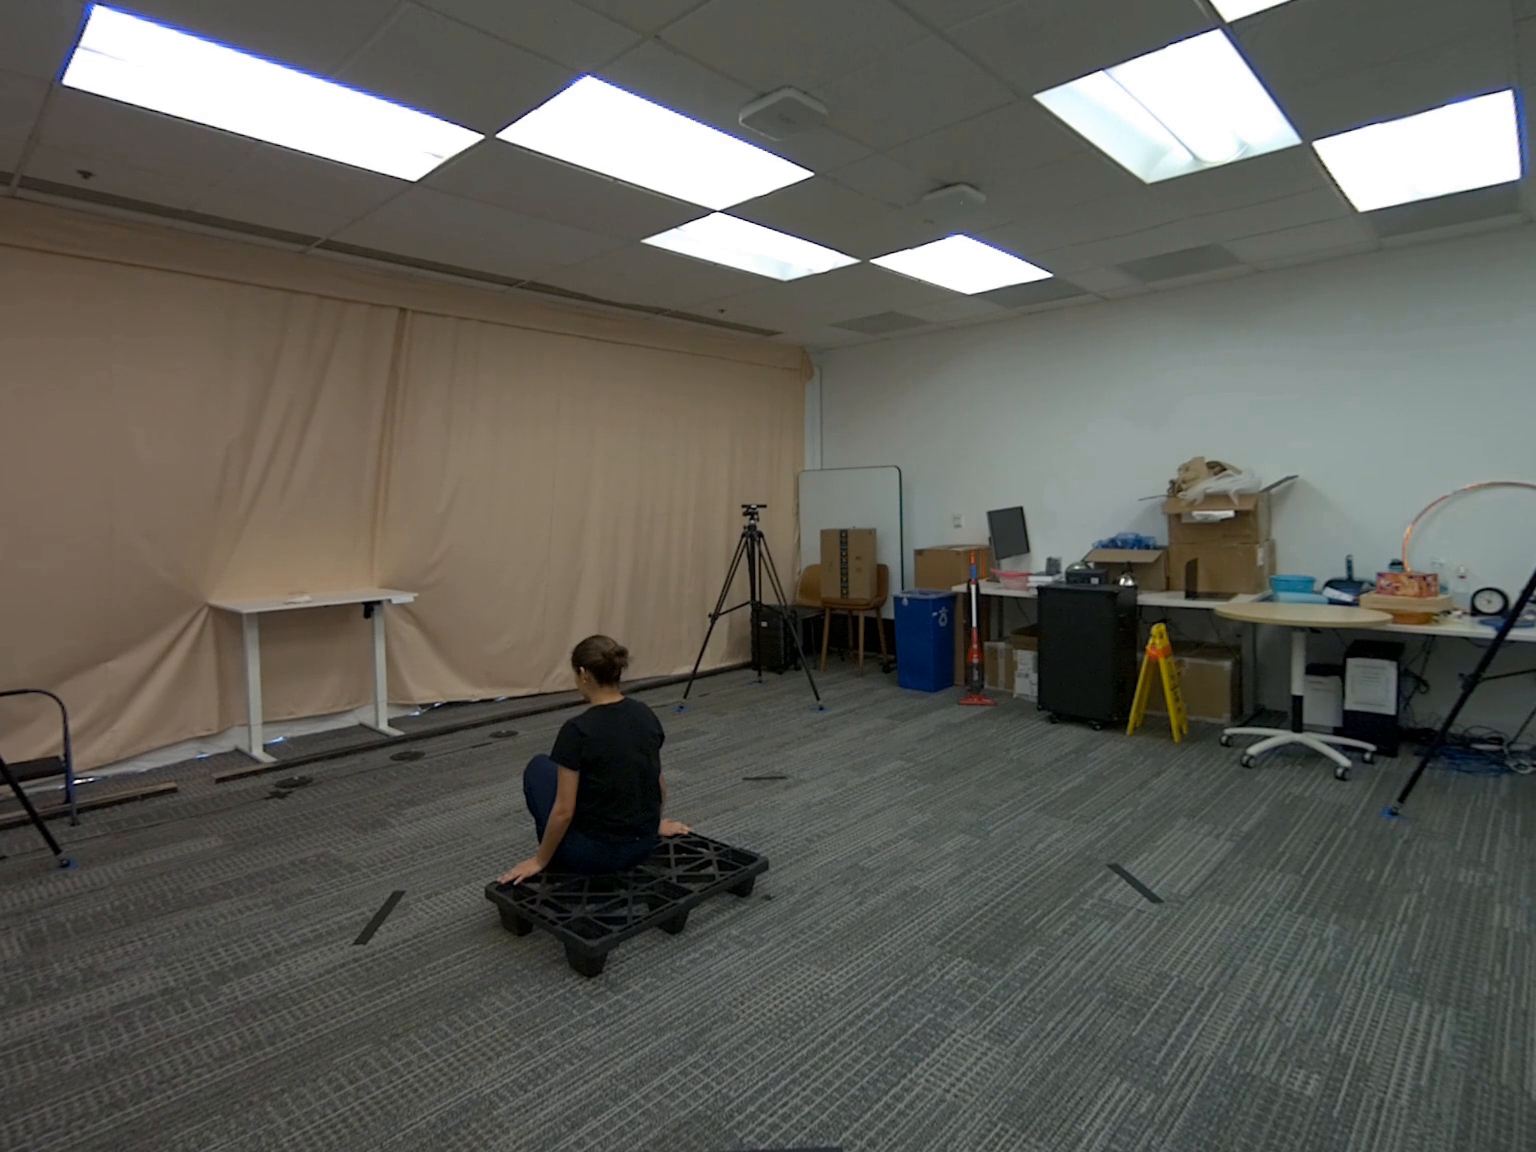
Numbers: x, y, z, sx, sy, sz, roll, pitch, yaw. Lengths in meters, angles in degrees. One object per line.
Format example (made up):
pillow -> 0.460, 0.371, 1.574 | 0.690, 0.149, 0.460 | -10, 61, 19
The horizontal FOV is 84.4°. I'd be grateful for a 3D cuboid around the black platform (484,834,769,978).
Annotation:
black platform -> -0.448, 1.088, 2.907 | 0.625, 0.143, 0.781 | 4, 7, 42
